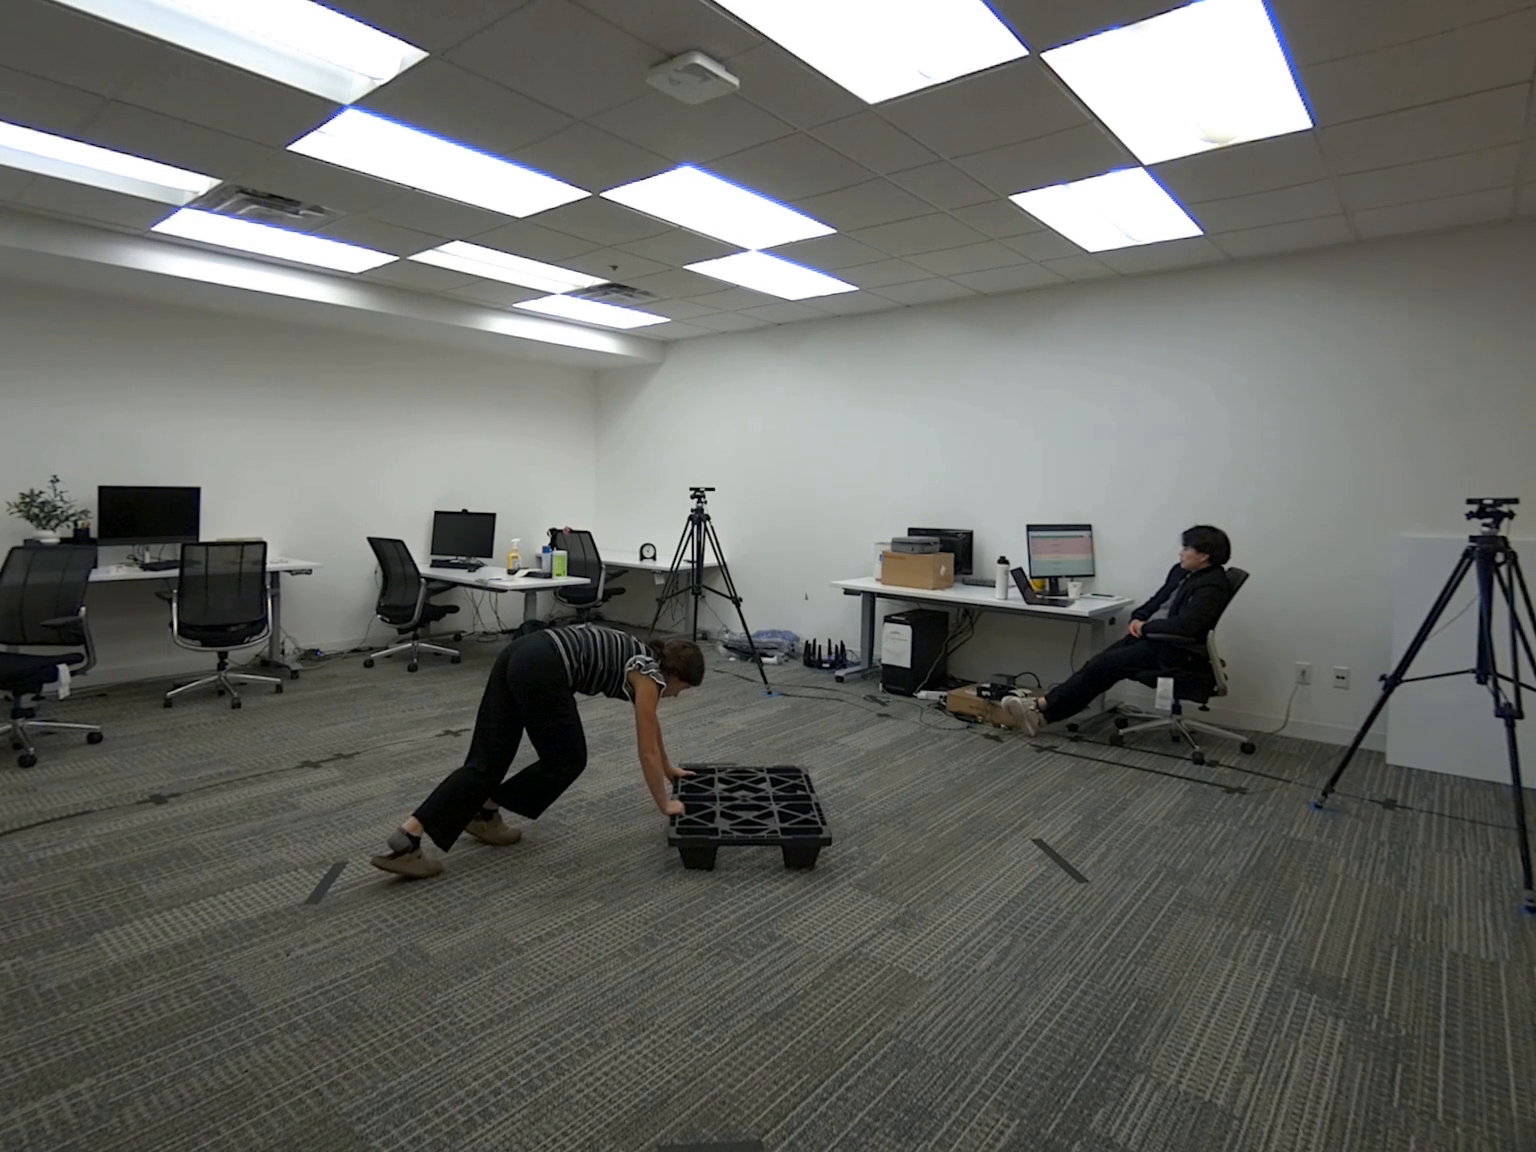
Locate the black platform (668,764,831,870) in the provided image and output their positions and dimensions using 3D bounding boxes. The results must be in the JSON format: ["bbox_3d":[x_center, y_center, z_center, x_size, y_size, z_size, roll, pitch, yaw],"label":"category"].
[{"bbox_3d":[-0.101,0.962,3.463,0.604,0.143,0.811,1,6,-3],"label":"black platform"}]
